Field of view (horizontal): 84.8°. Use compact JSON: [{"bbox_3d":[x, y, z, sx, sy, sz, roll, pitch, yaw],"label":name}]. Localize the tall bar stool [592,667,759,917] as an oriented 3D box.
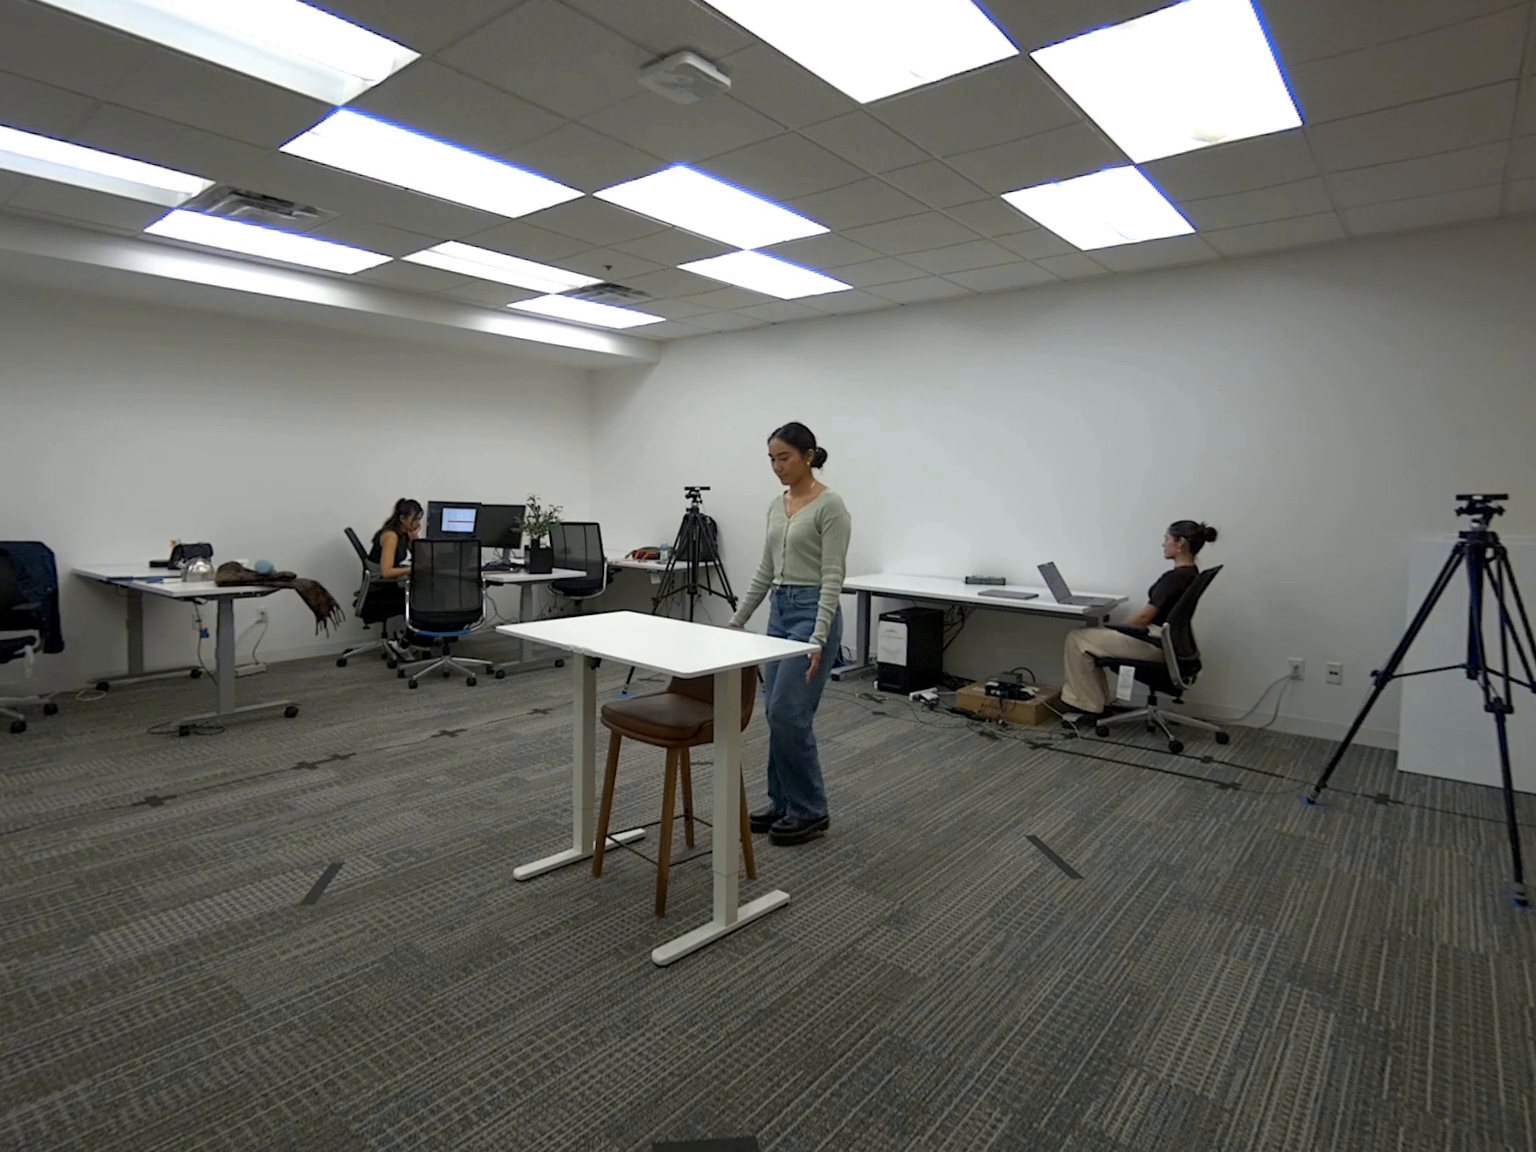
[{"bbox_3d":[-0.324,0.639,3.016,0.453,0.889,0.472,1,1,-43],"label":"tall bar stool"}]
